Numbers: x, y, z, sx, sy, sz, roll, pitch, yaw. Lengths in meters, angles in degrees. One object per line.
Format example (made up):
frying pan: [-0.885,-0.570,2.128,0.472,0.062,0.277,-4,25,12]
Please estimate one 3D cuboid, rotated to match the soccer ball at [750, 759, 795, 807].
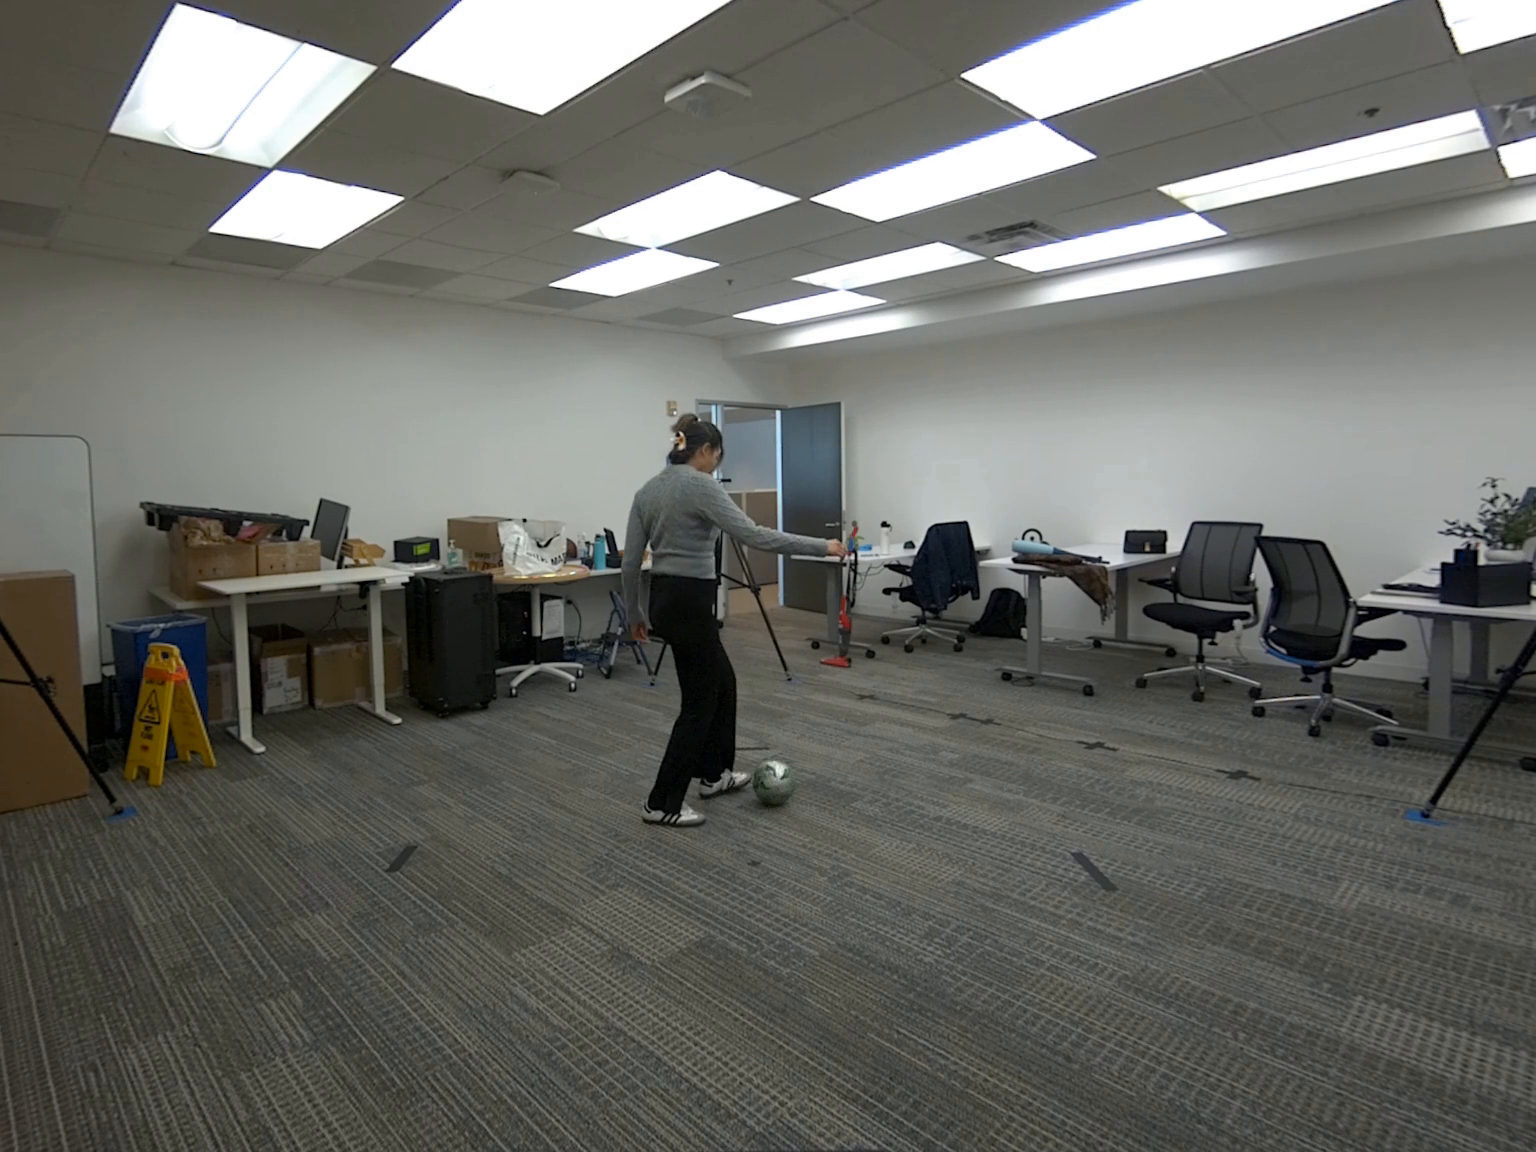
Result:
soccer ball: [0.026,0.887,3.658,0.187,0.187,0.188,-1,5,-2]
